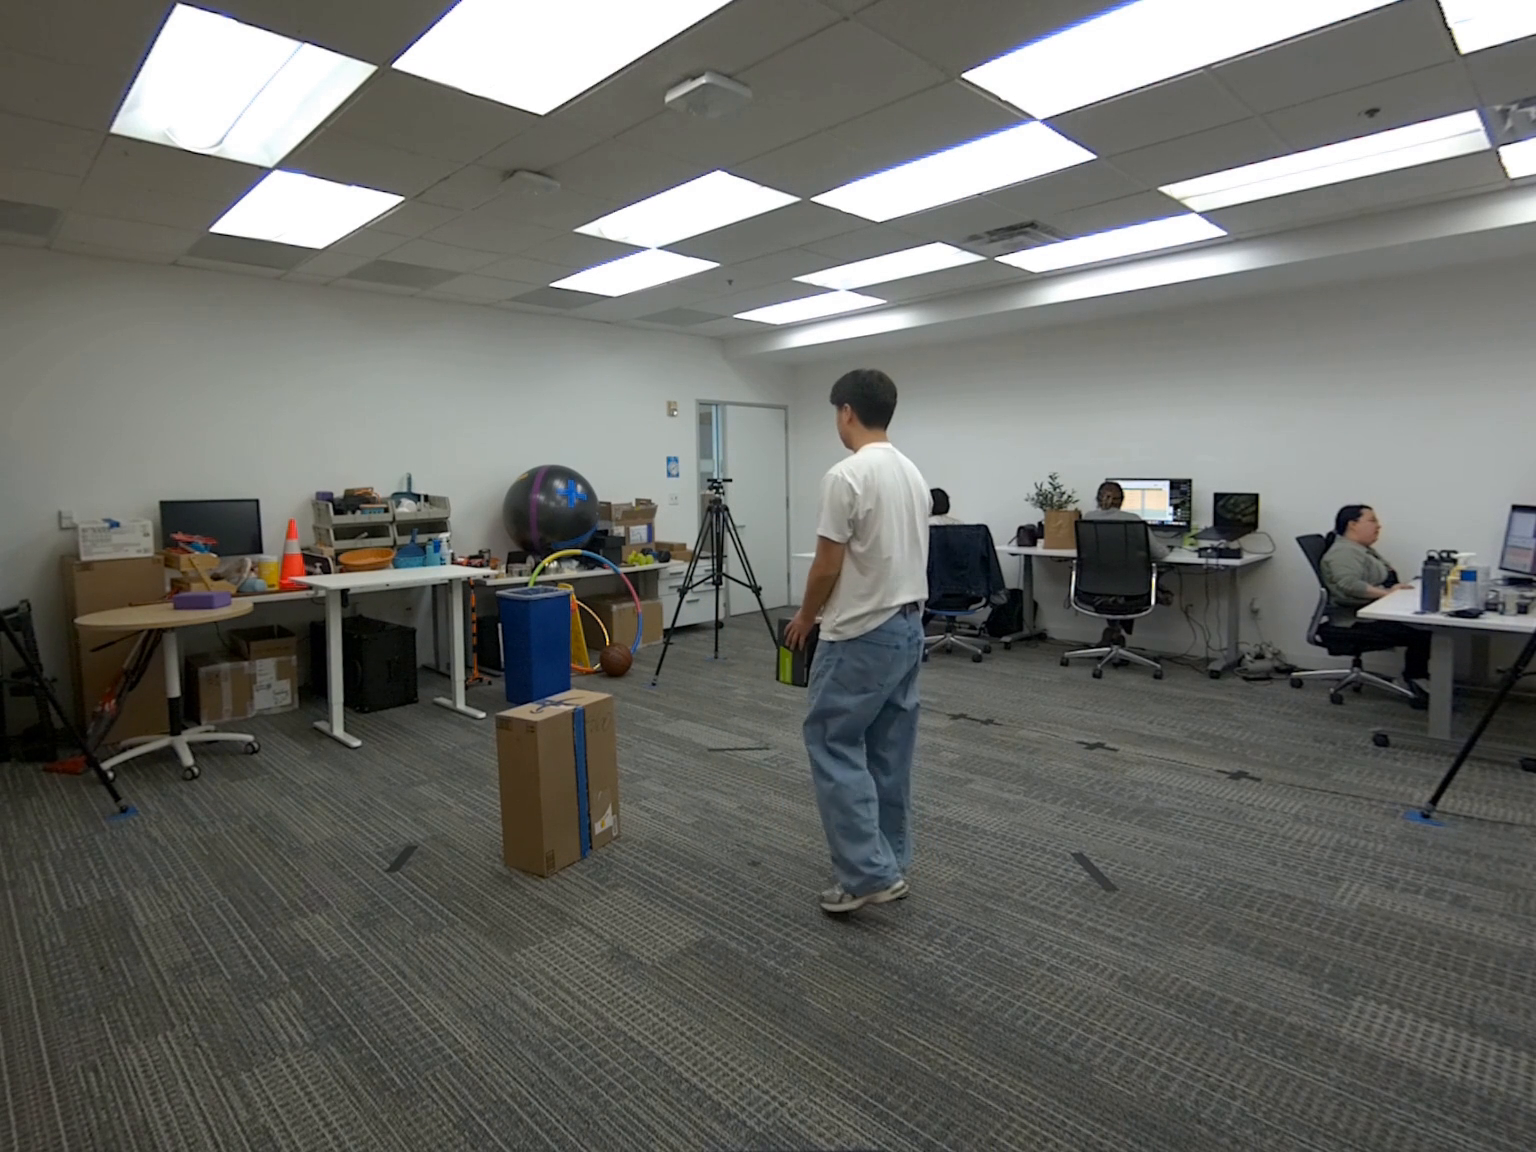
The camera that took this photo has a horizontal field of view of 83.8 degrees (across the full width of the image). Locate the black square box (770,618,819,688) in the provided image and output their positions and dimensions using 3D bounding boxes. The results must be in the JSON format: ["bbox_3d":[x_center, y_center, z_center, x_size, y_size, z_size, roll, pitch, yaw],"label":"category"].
[{"bbox_3d":[0.170,0.272,3.077,0.211,0.228,0.160,1,1,-41],"label":"black square box"}]
